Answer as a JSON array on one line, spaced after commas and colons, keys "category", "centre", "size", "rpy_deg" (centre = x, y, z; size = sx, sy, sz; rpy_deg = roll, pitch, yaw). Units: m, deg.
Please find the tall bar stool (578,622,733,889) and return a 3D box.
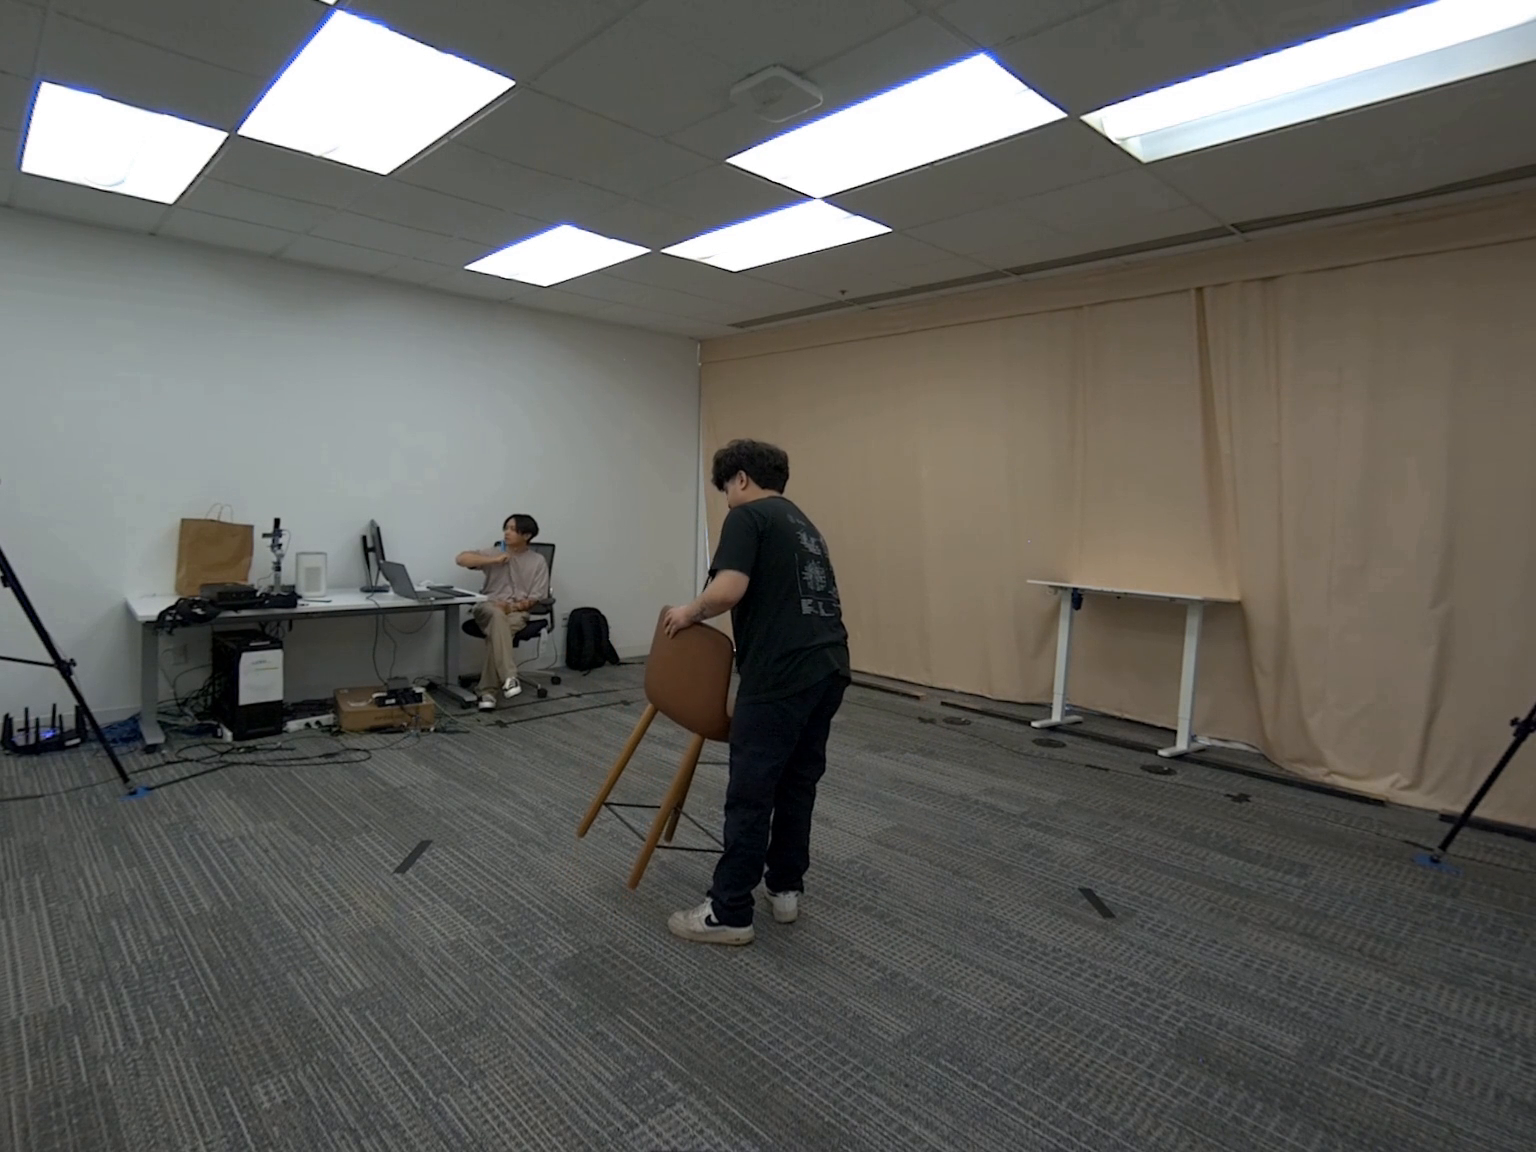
[{"category": "tall bar stool", "centre": [-0.271, 0.609, 2.975], "size": [0.454, 0.890, 0.470], "rpy_deg": [20, 0, -42]}]
